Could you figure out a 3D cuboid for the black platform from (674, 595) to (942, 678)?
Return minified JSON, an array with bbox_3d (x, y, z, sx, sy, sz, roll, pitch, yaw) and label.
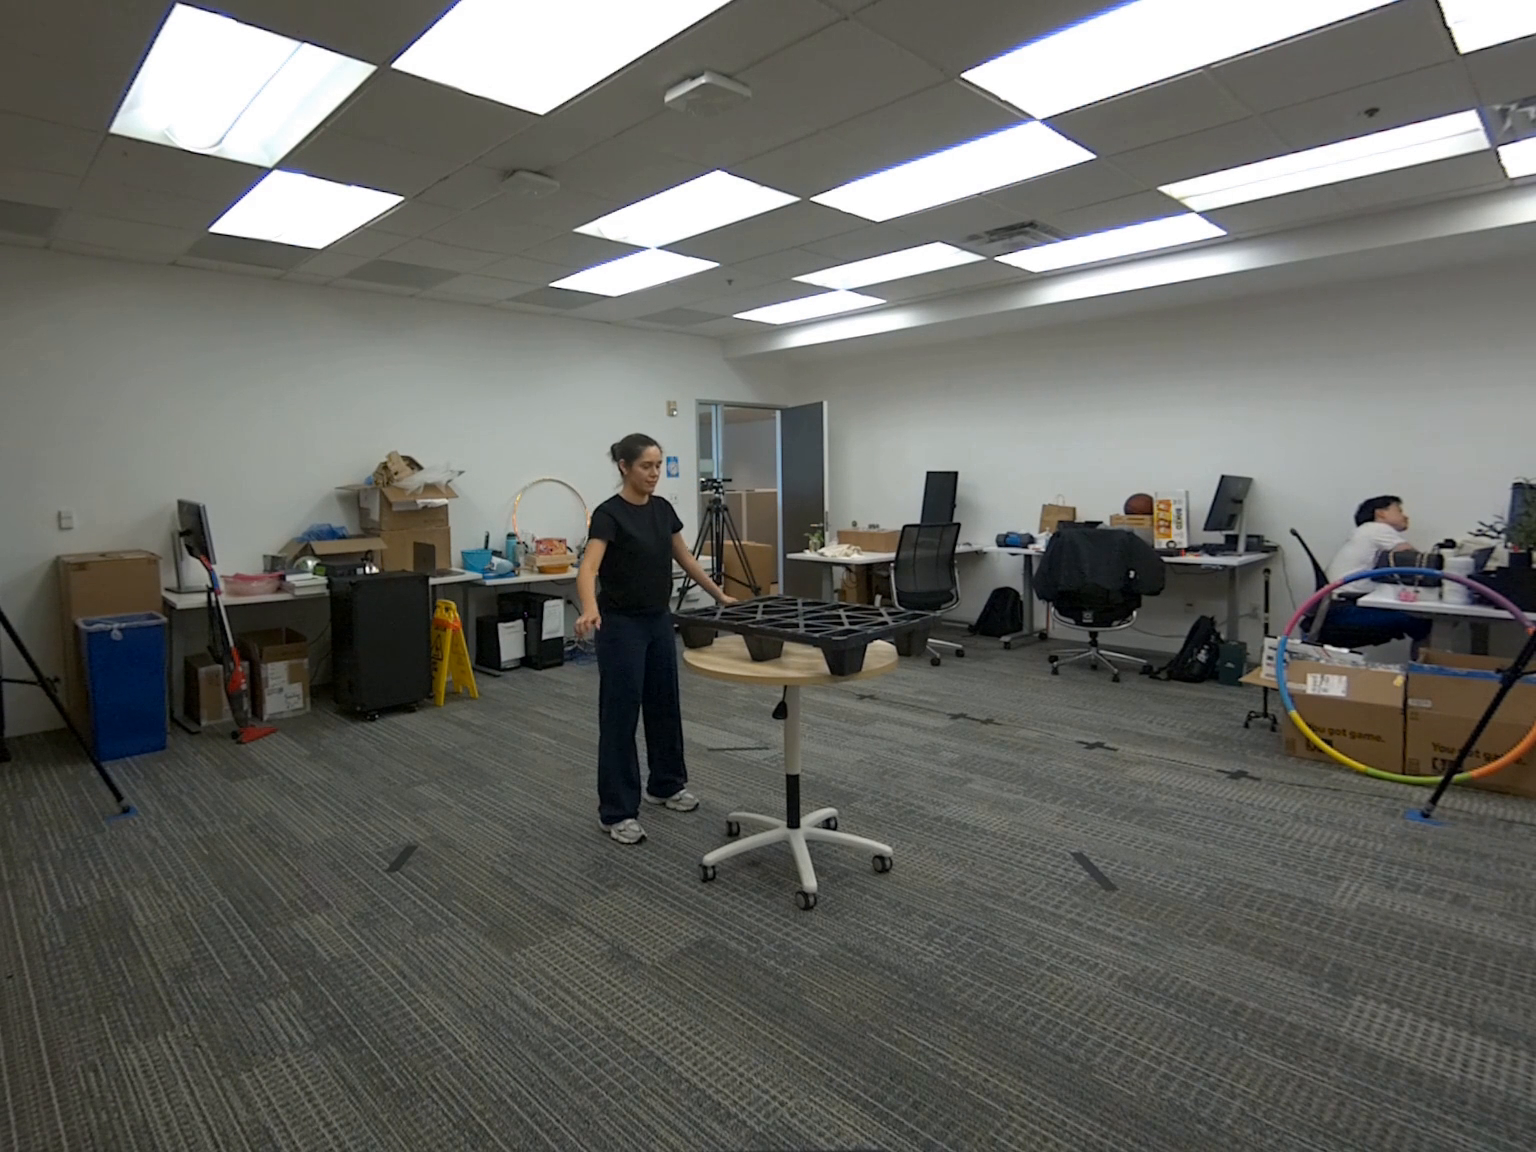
[{"bbox_3d":[0.117,0.198,3.074,0.830,0.142,0.589,5,9,44],"label":"black platform"}]
